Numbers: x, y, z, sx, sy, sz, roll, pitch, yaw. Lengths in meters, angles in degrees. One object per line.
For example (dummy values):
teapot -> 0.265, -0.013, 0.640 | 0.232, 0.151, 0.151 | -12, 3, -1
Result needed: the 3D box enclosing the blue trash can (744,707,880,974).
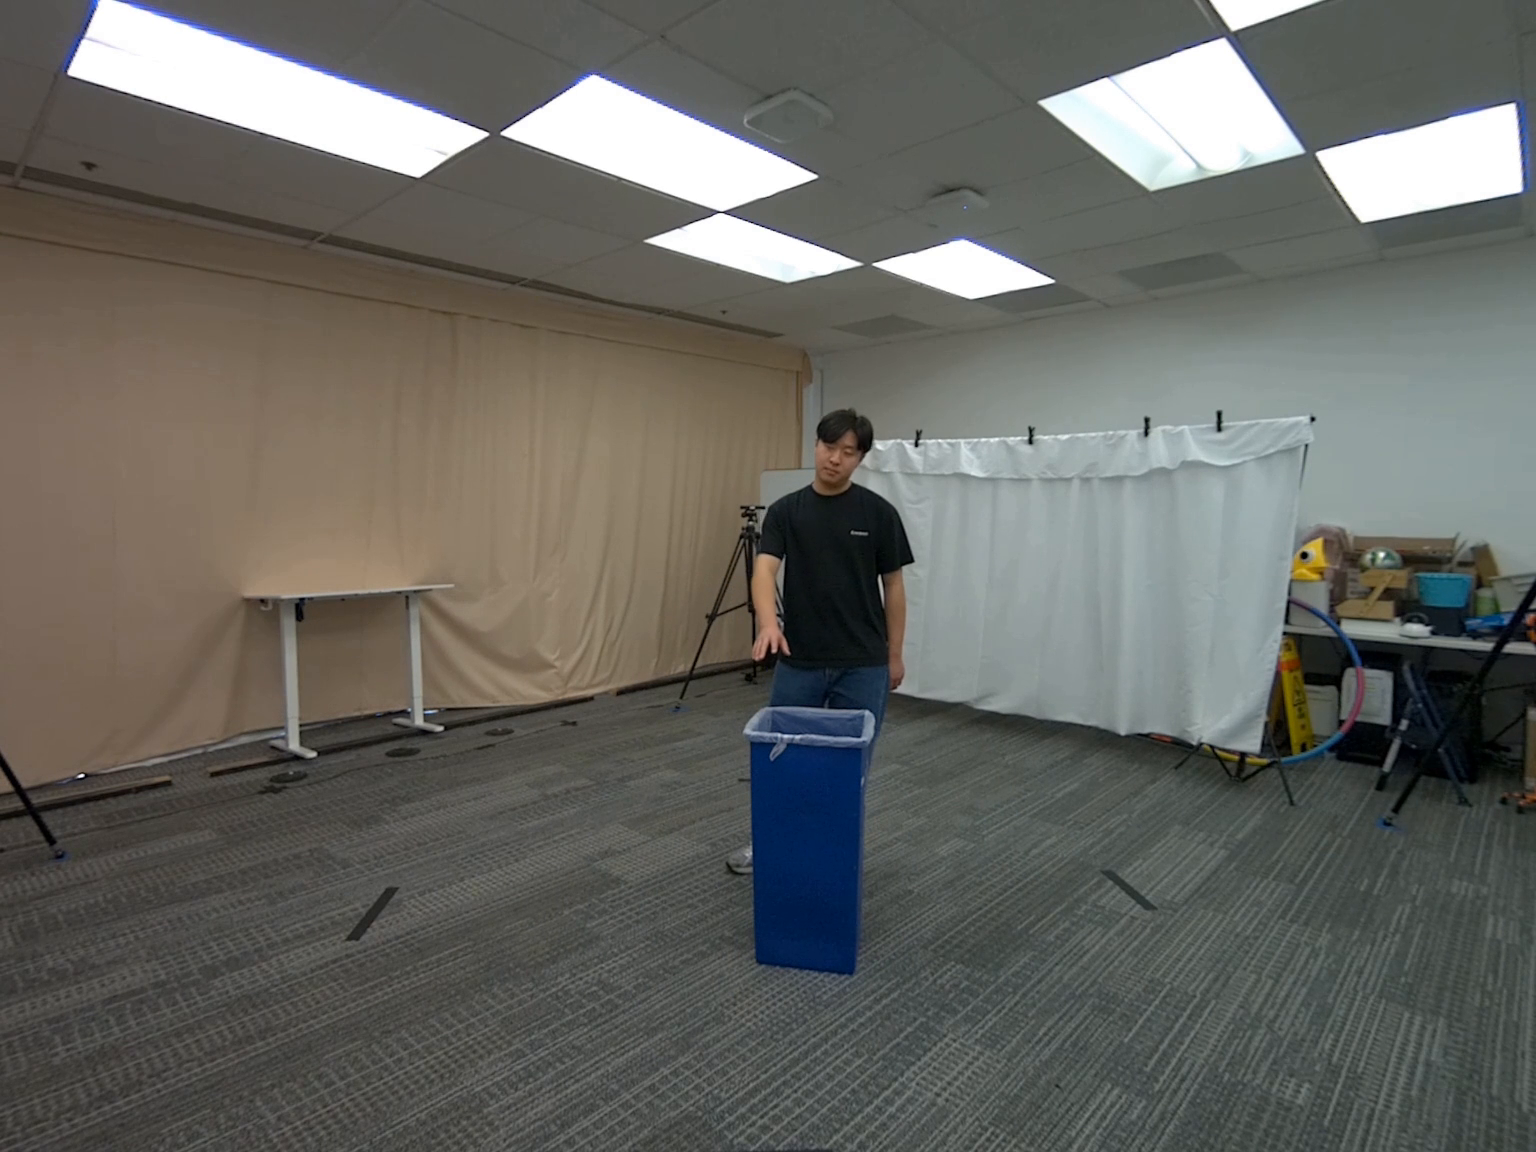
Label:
blue trash can -> 0.140, 0.810, 2.650 | 0.383, 0.713, 0.369 | 1, 2, 12
